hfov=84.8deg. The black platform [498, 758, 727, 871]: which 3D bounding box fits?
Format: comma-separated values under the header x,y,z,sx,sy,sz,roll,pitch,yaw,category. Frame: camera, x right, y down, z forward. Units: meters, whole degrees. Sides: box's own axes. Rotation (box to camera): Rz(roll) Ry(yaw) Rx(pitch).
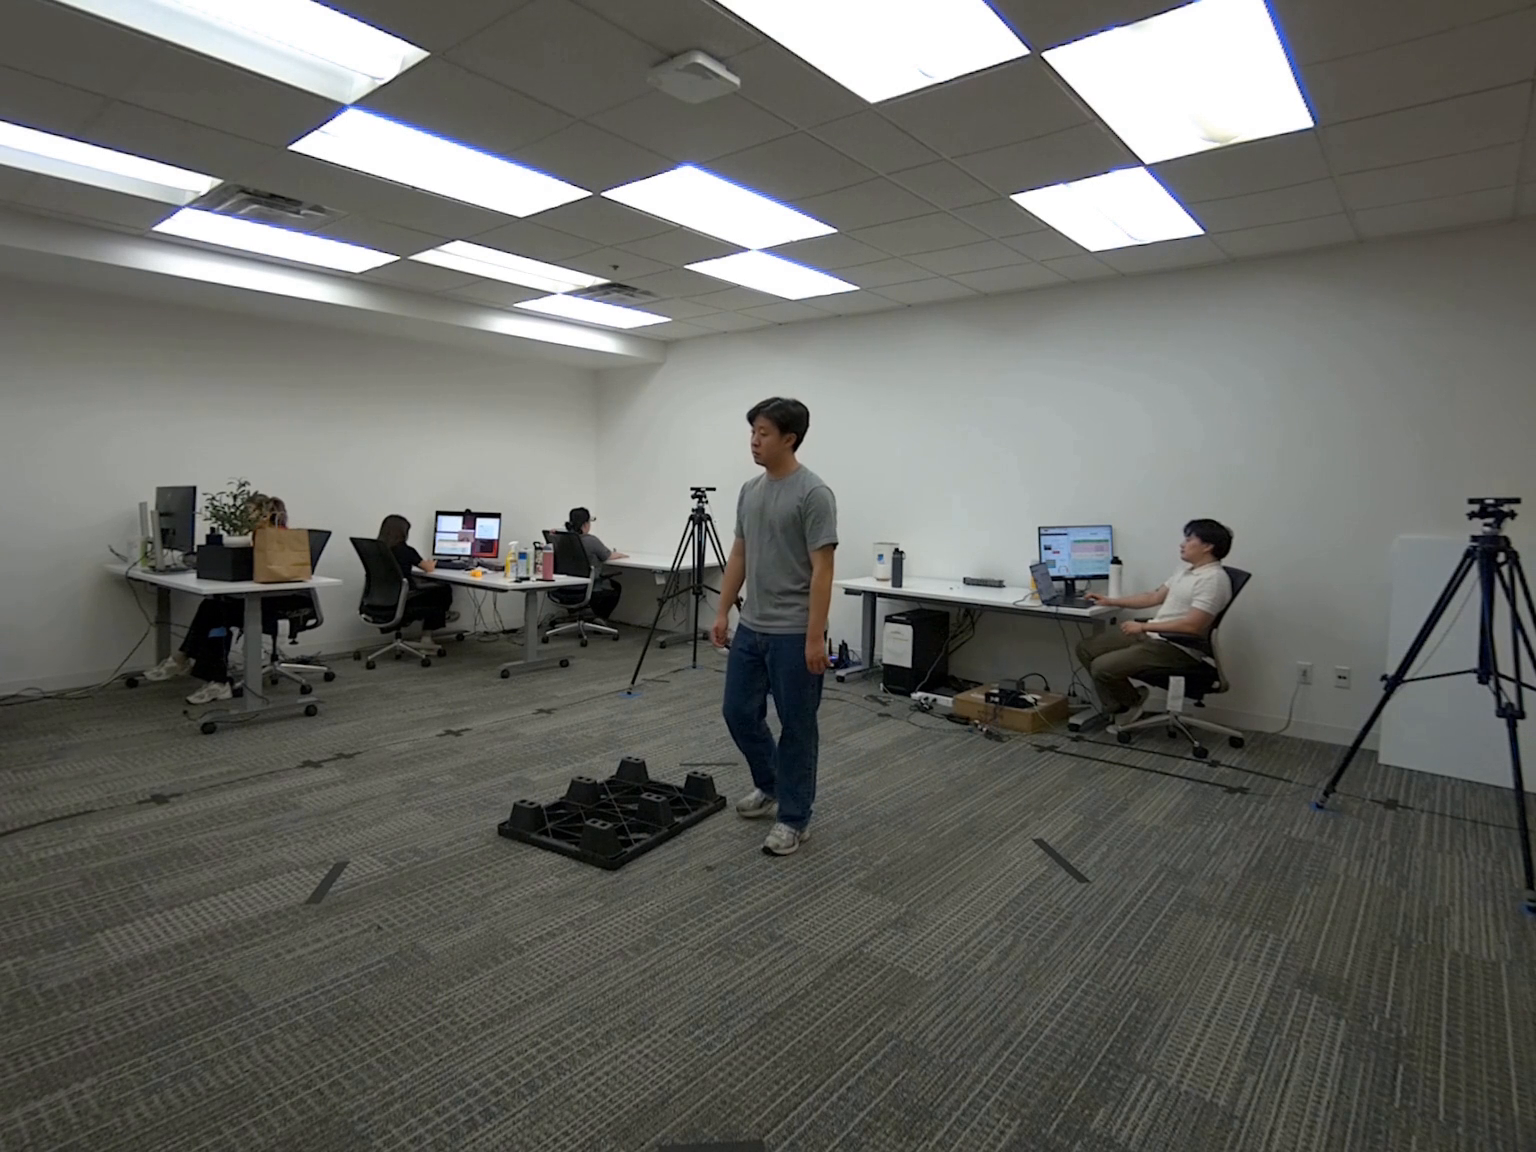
x,y,z,sx,sy,sz,roll,pitch,yaw,category
-0.639,0.948,3.557,0.623,0.143,0.785,4,6,30,black platform
